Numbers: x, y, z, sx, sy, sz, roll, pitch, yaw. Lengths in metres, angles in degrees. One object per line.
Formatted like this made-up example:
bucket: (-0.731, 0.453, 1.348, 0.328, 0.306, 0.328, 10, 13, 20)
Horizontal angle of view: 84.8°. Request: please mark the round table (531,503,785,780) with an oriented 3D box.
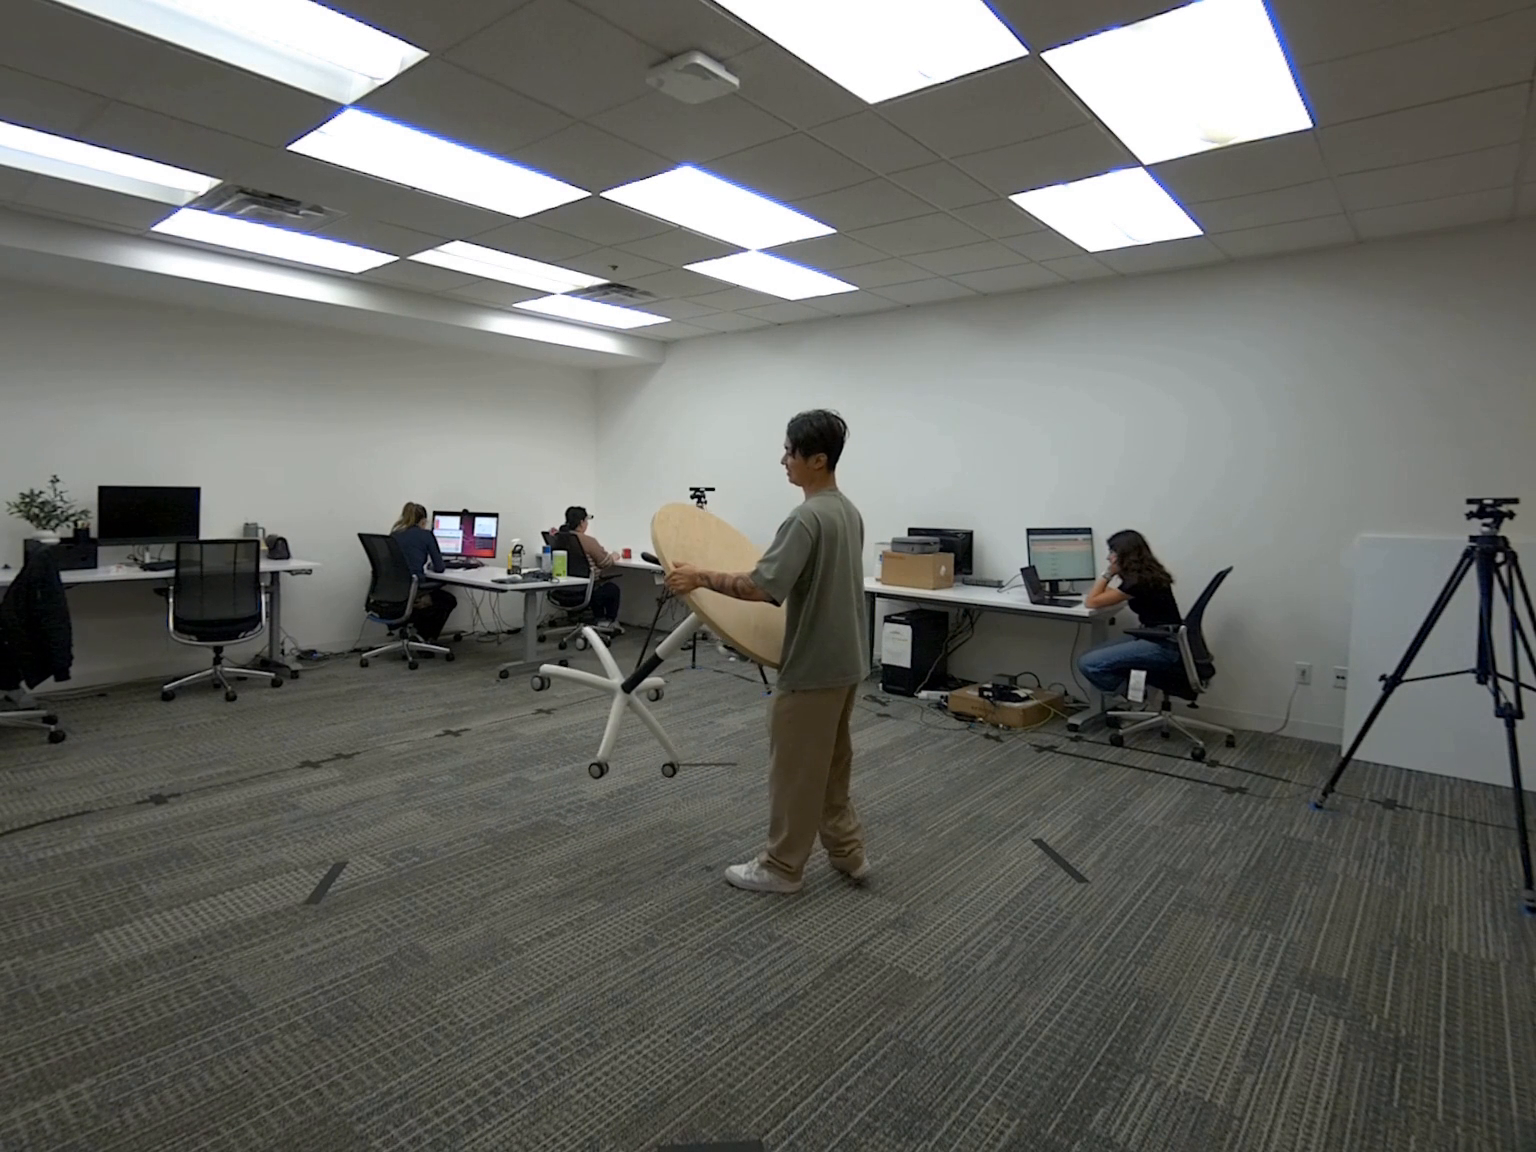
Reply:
round table: (-0.383, 0.270, 3.240, 0.787, 0.803, 0.767, -44, -16, 22)
